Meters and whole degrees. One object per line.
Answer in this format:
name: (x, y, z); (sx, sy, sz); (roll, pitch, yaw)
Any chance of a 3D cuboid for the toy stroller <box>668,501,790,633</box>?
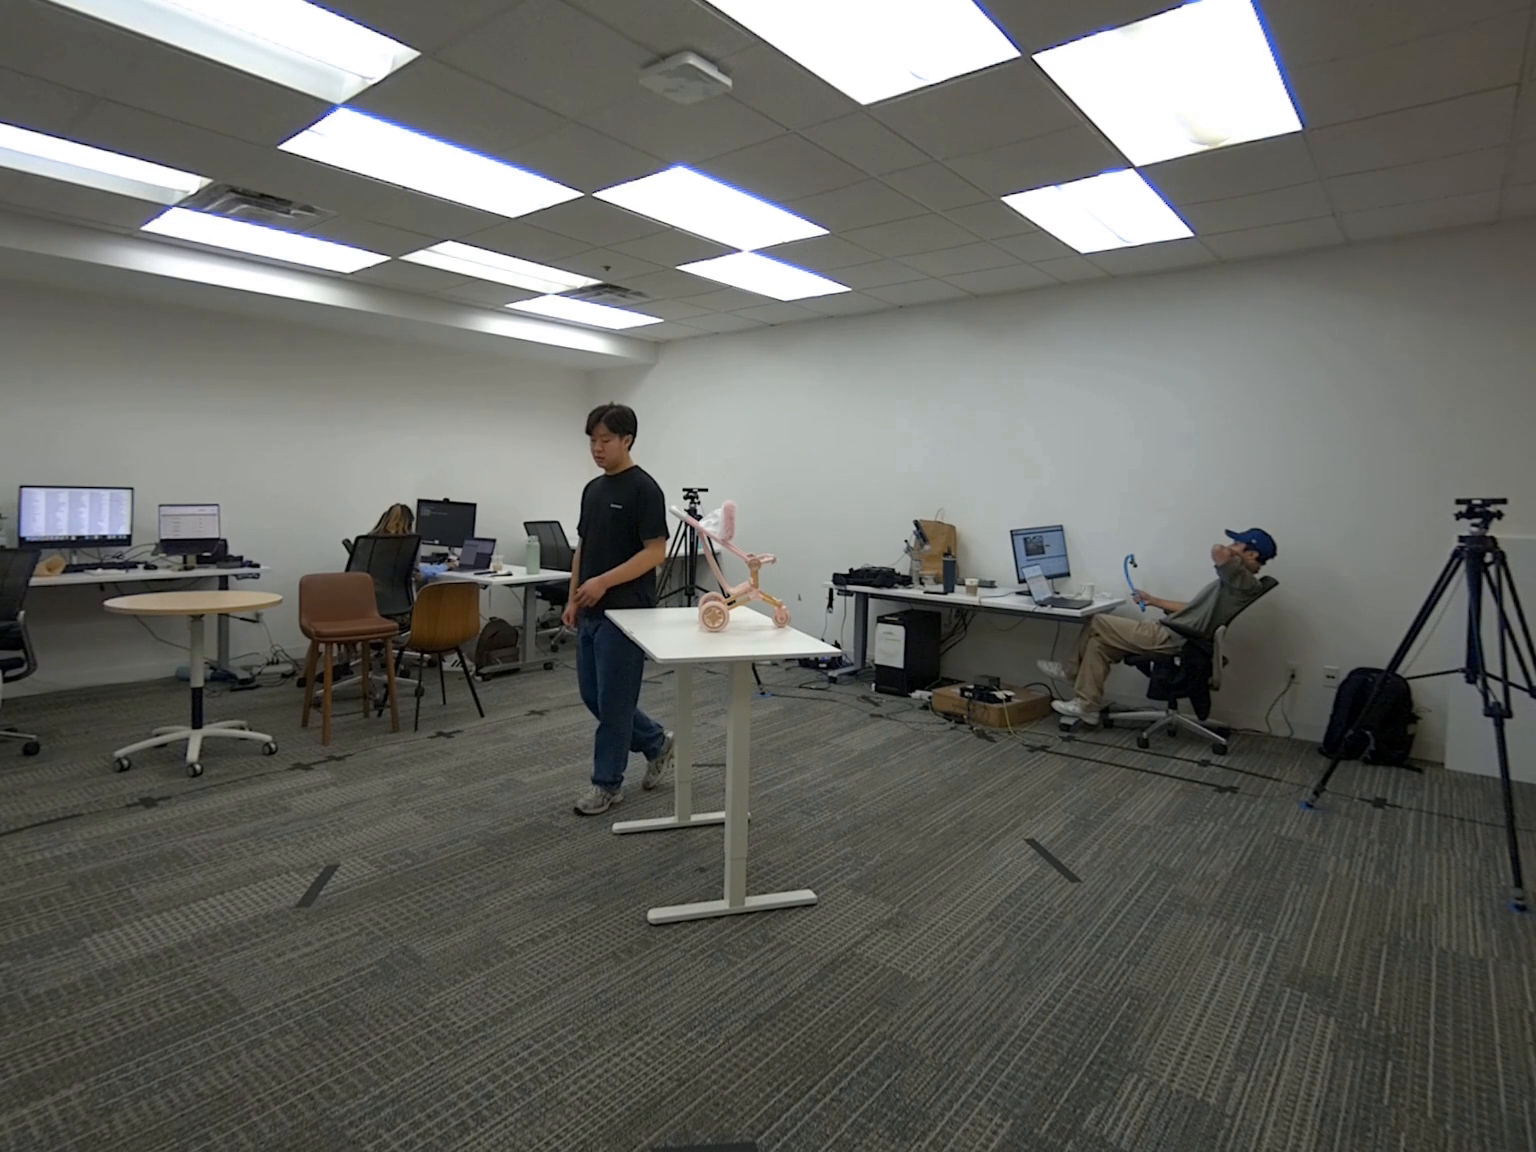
toy stroller: (-0.138, -0.038, 3.121); (0.342, 0.533, 0.281); (-14, 3, 4)
